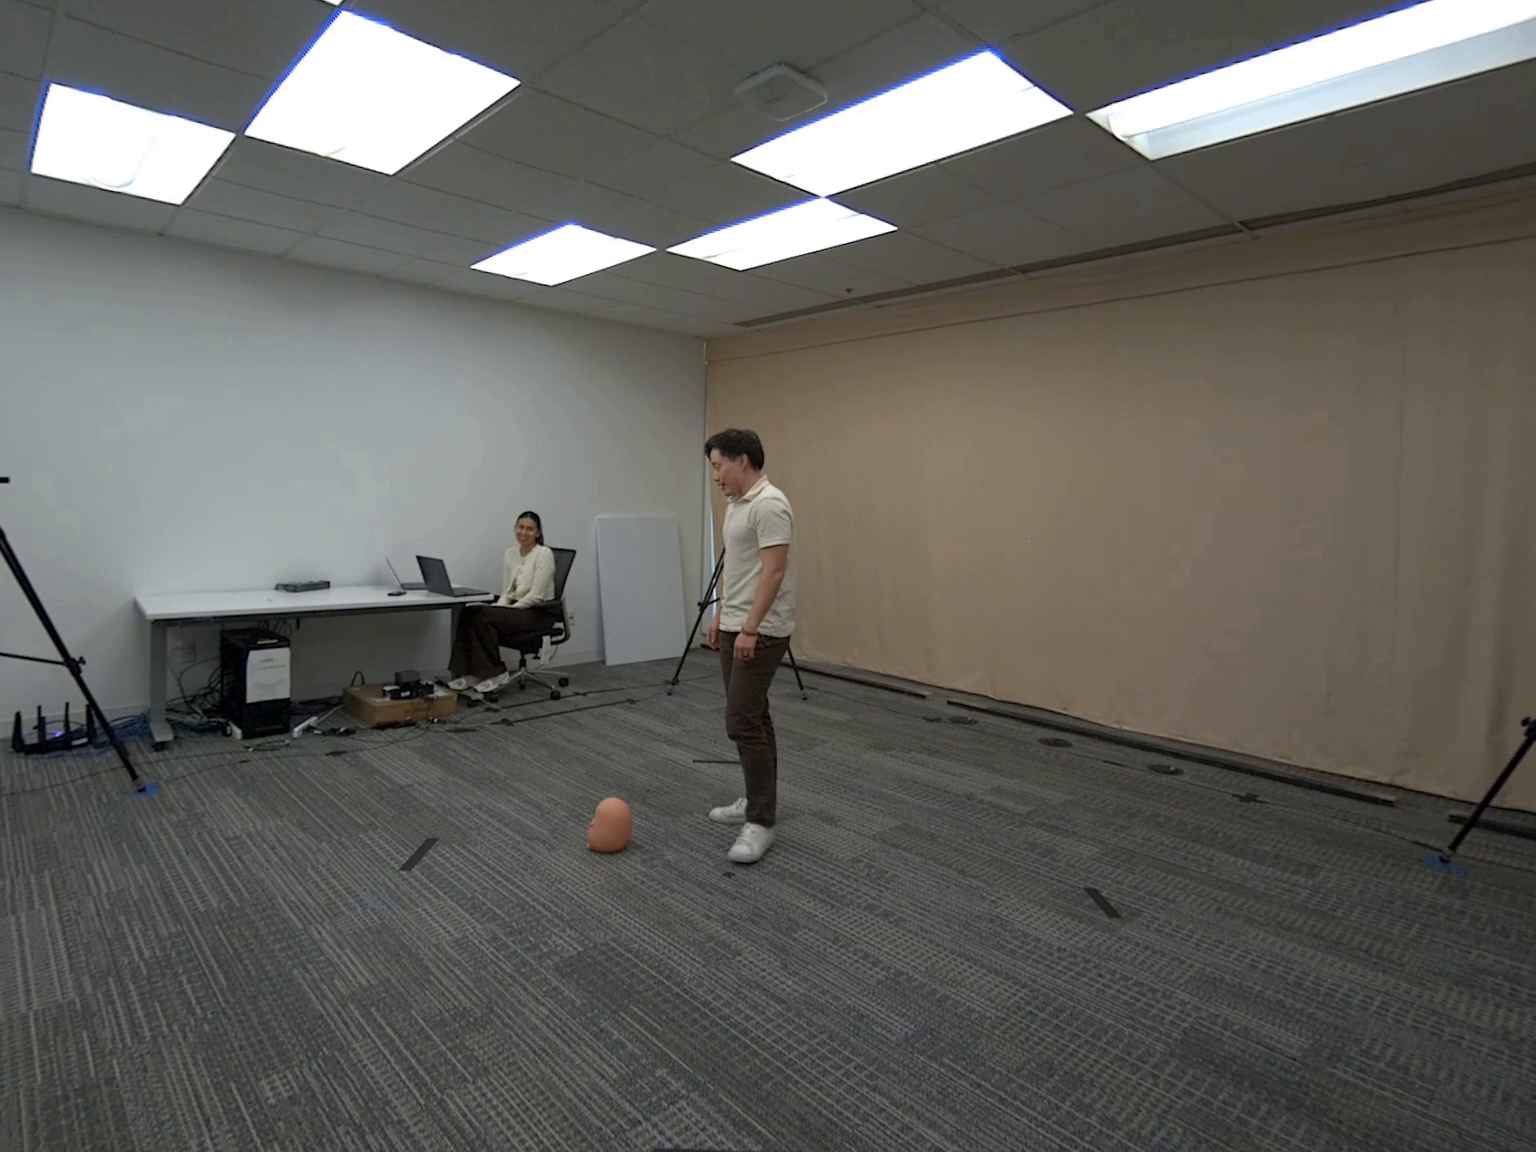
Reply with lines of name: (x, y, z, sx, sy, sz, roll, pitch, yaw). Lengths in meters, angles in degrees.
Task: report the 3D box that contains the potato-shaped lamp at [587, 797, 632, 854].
potato-shaped lamp: (-0.630, 0.976, 3.311, 0.174, 0.198, 0.162, 3, 4, 22)
